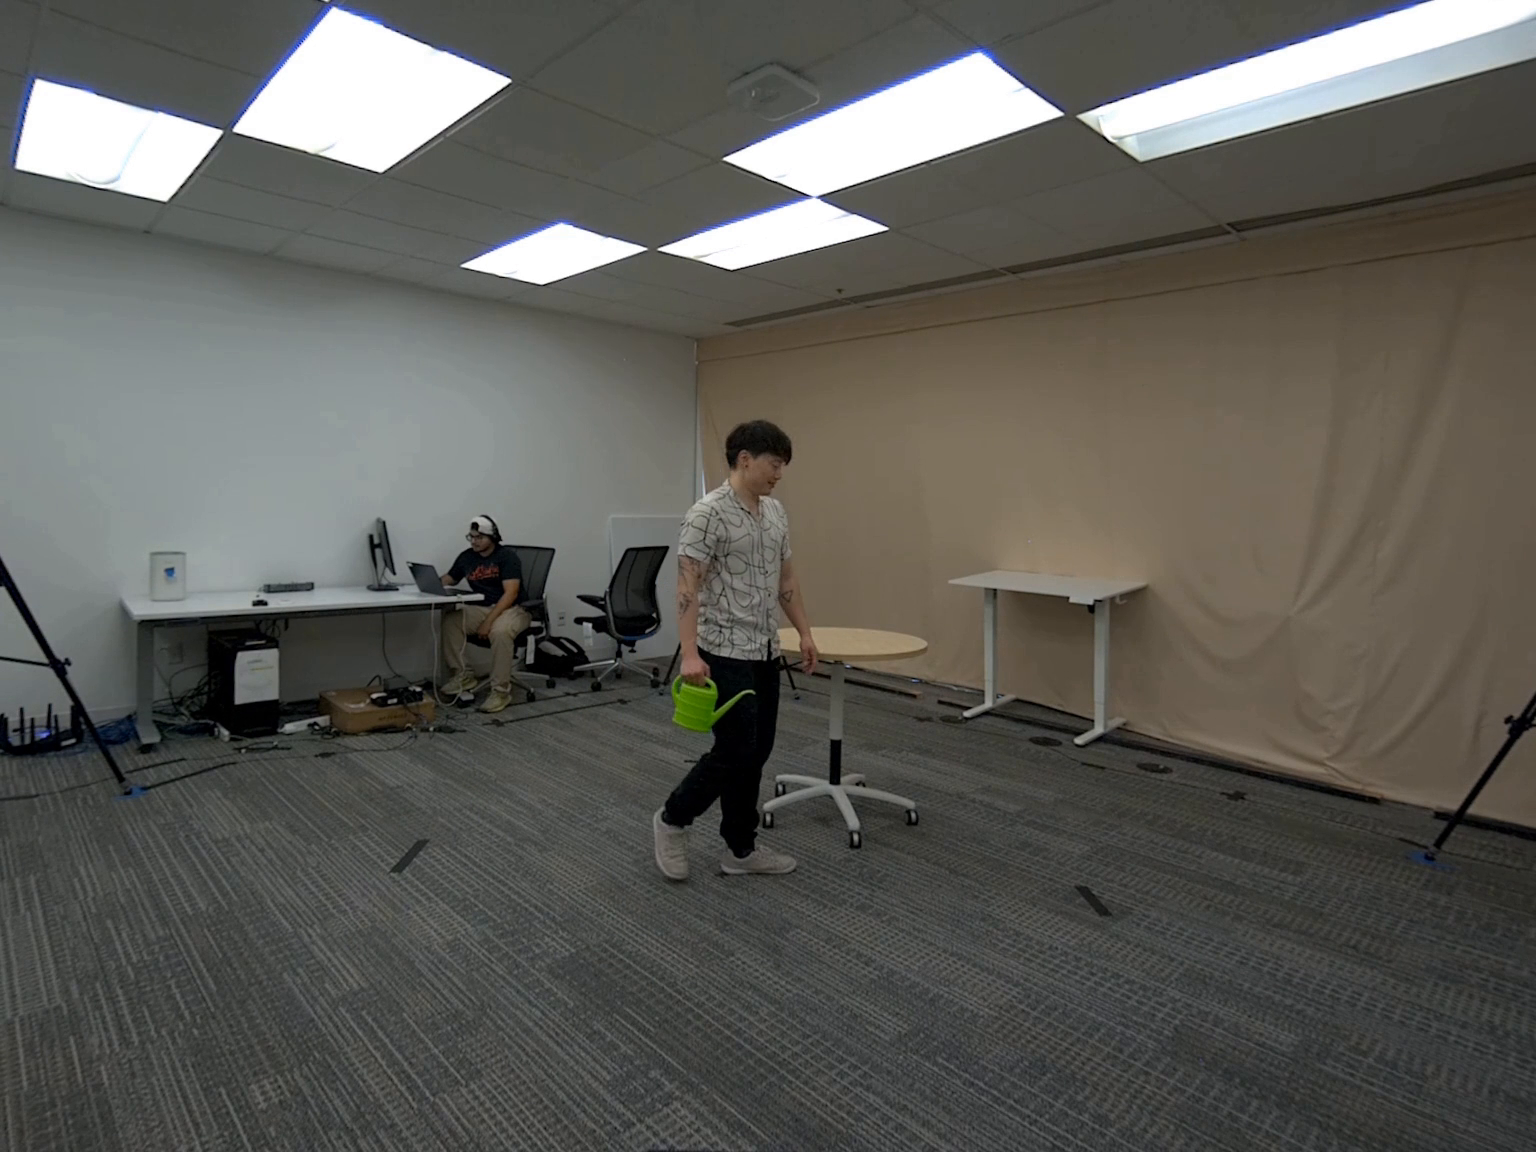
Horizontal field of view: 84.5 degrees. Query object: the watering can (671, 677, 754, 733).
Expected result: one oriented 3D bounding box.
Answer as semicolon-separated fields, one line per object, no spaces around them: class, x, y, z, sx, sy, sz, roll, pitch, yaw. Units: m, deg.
watering can;-0.204;0.432;2.770;0.285;0.176;0.095;15;4;32
